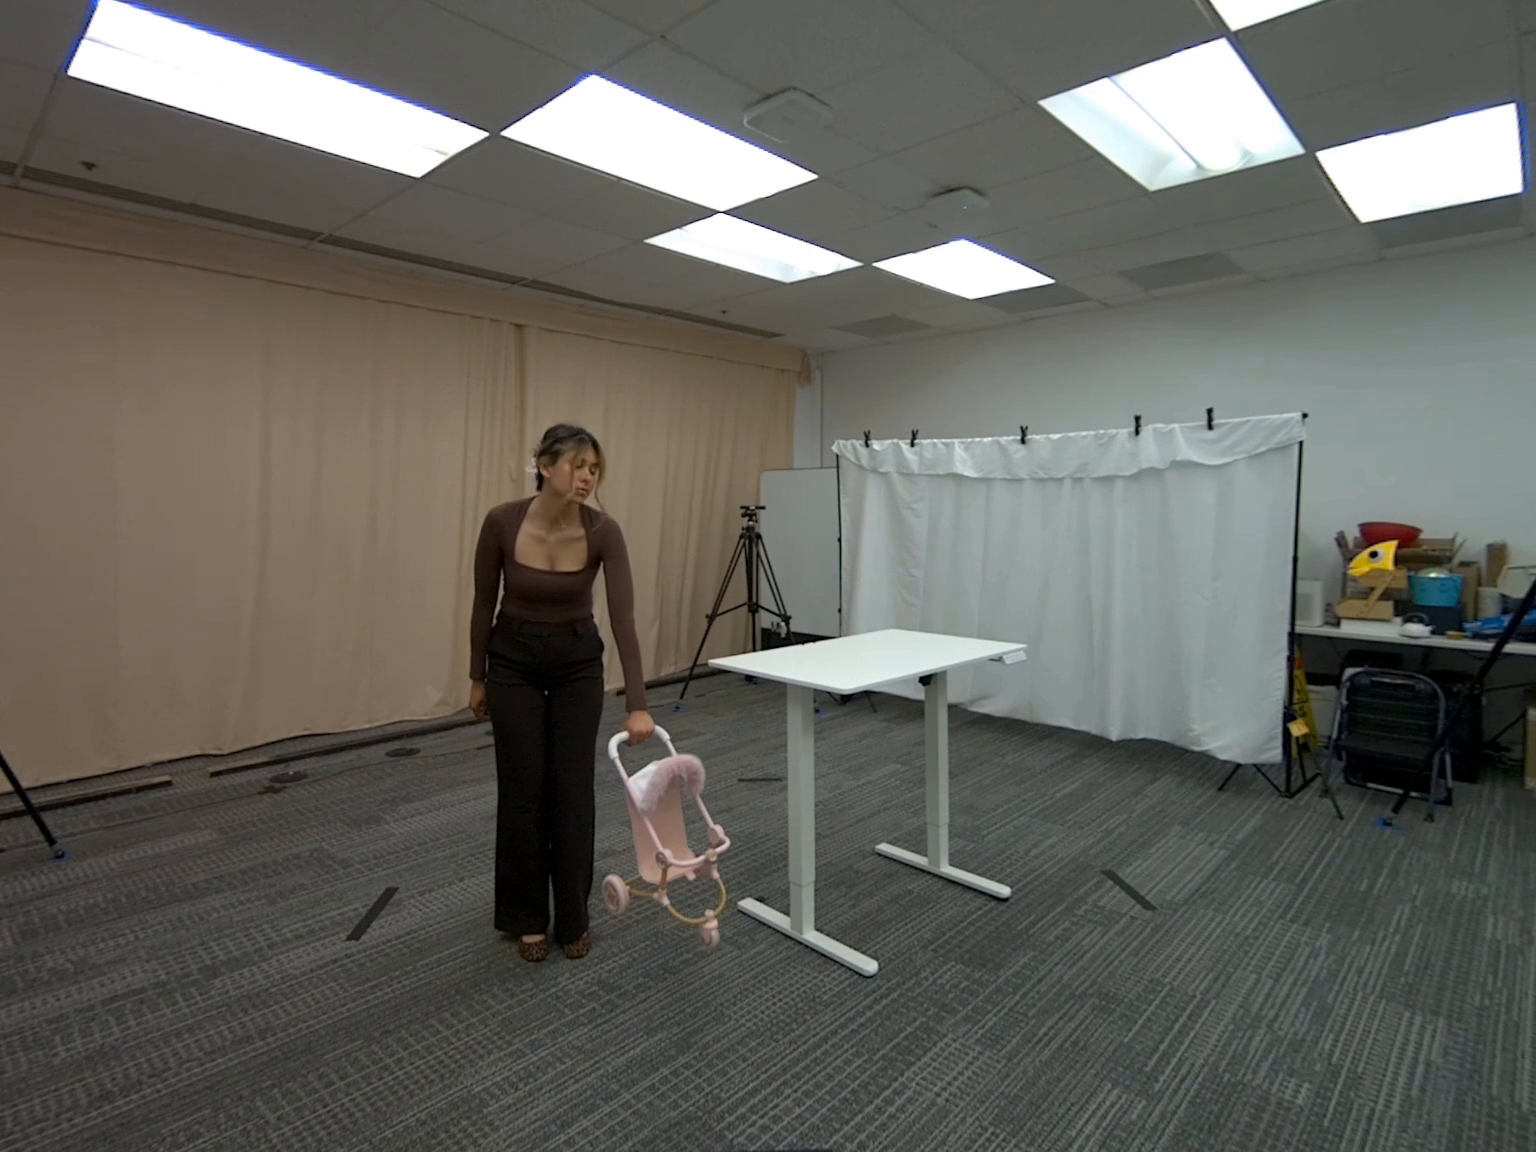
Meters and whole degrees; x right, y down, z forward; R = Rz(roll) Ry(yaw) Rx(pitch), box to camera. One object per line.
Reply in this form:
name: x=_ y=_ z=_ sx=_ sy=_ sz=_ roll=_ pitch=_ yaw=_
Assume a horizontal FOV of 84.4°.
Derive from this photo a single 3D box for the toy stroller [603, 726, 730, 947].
toy stroller: x=-0.260 y=0.715 z=2.300 sx=0.273 sy=0.533 sz=0.352 roll=-6 pitch=6 yaw=-42
